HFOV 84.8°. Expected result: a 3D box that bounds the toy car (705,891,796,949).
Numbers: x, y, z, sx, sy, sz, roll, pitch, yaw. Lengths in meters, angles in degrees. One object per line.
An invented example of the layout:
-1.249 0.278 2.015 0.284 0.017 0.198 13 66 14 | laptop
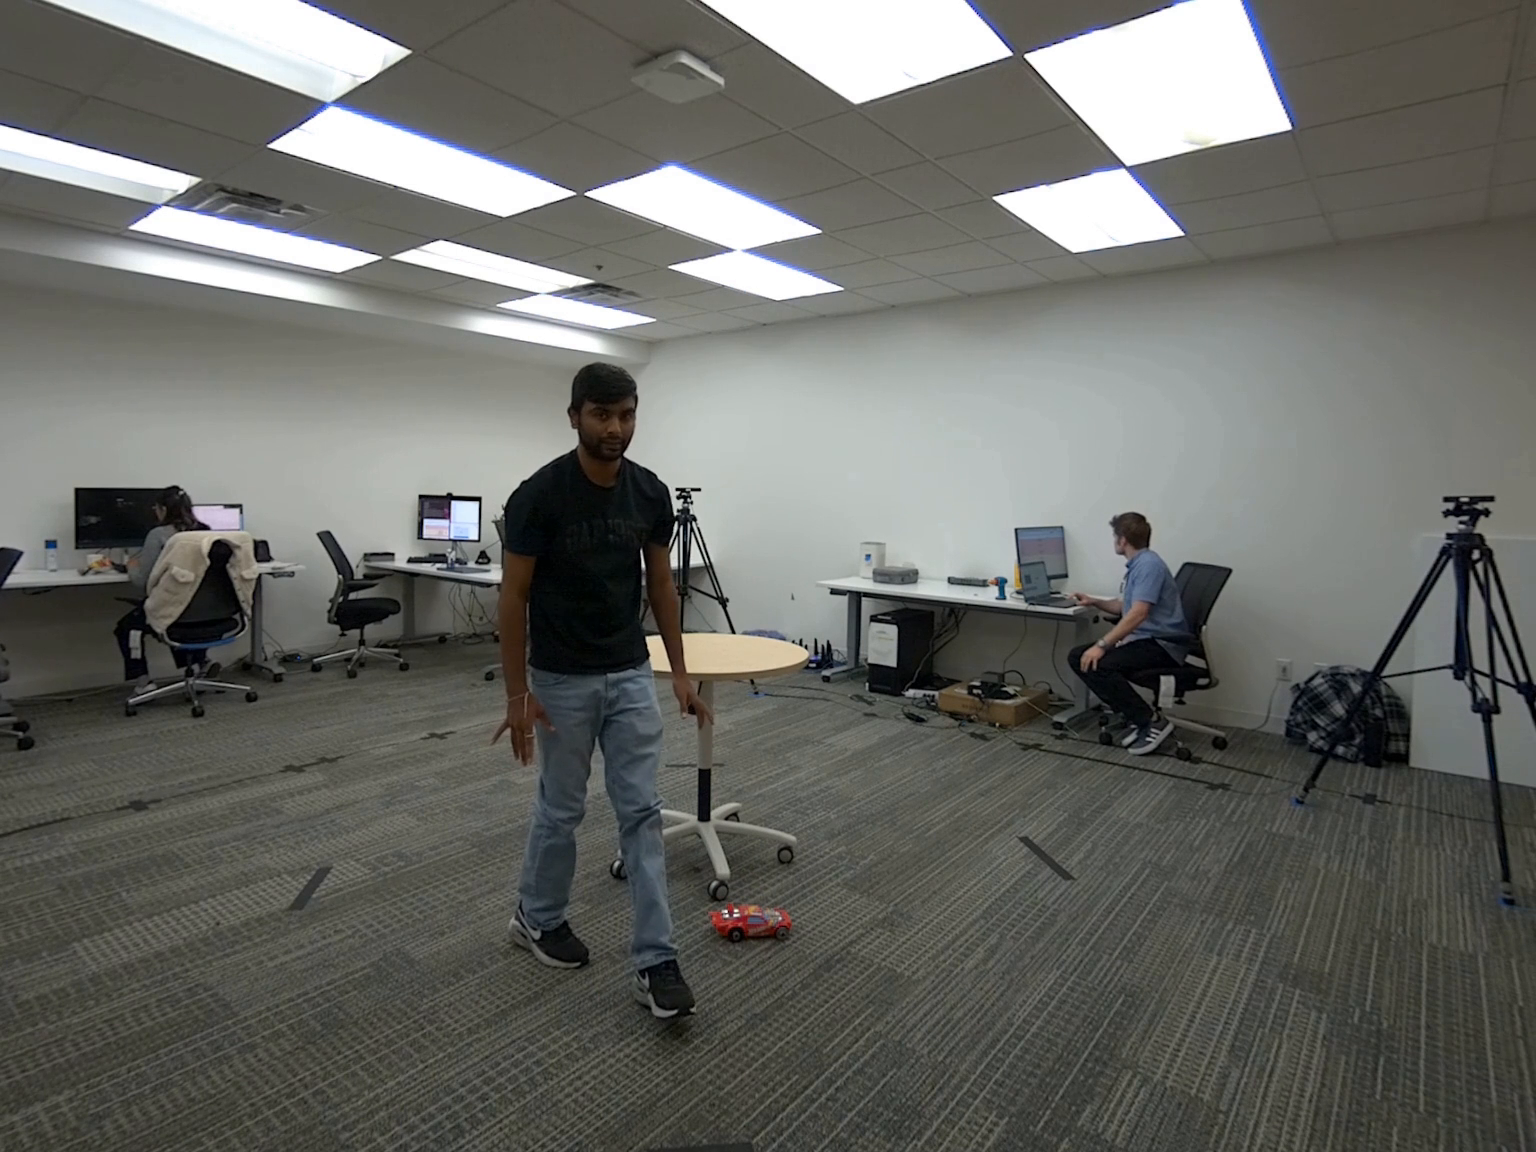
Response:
-0.059 1.082 2.654 0.252 0.083 0.132 11 2 -9 | toy car
